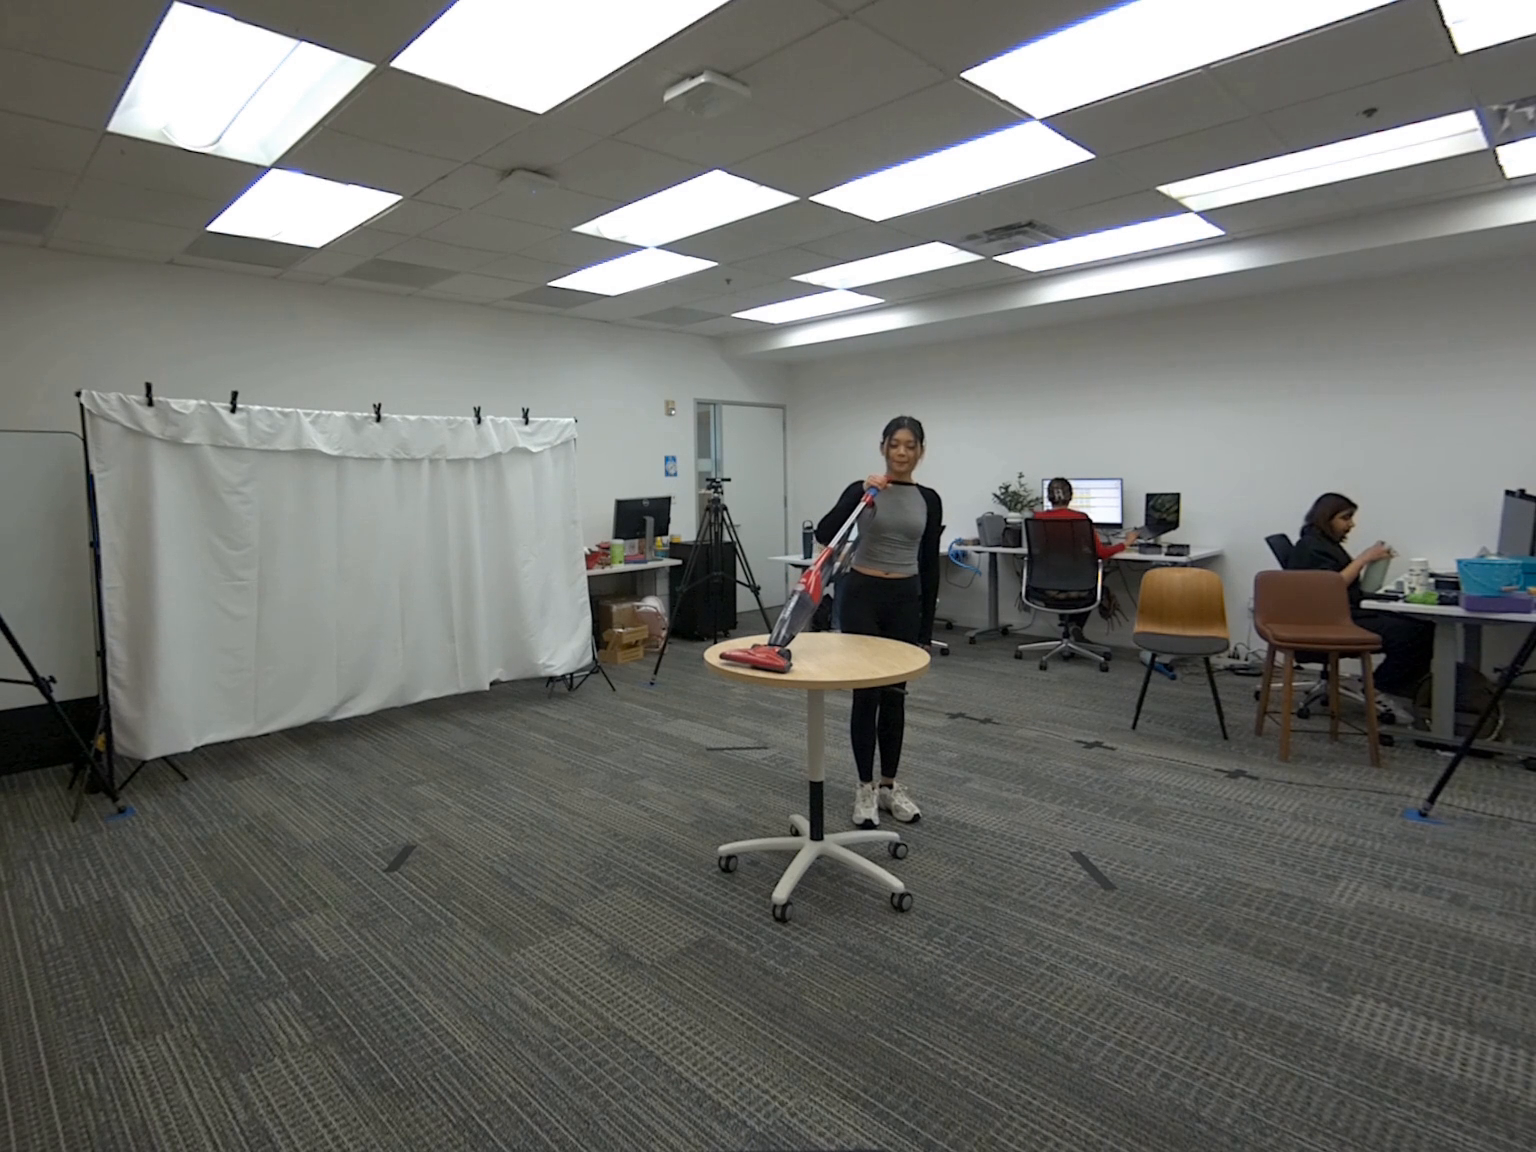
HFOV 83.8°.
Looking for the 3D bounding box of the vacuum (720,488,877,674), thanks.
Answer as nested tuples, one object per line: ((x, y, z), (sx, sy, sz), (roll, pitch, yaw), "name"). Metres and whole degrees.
((0.221, -0.044, 3.064), (0.260, 0.139, 1.053), (2, 39, 35), "vacuum")
